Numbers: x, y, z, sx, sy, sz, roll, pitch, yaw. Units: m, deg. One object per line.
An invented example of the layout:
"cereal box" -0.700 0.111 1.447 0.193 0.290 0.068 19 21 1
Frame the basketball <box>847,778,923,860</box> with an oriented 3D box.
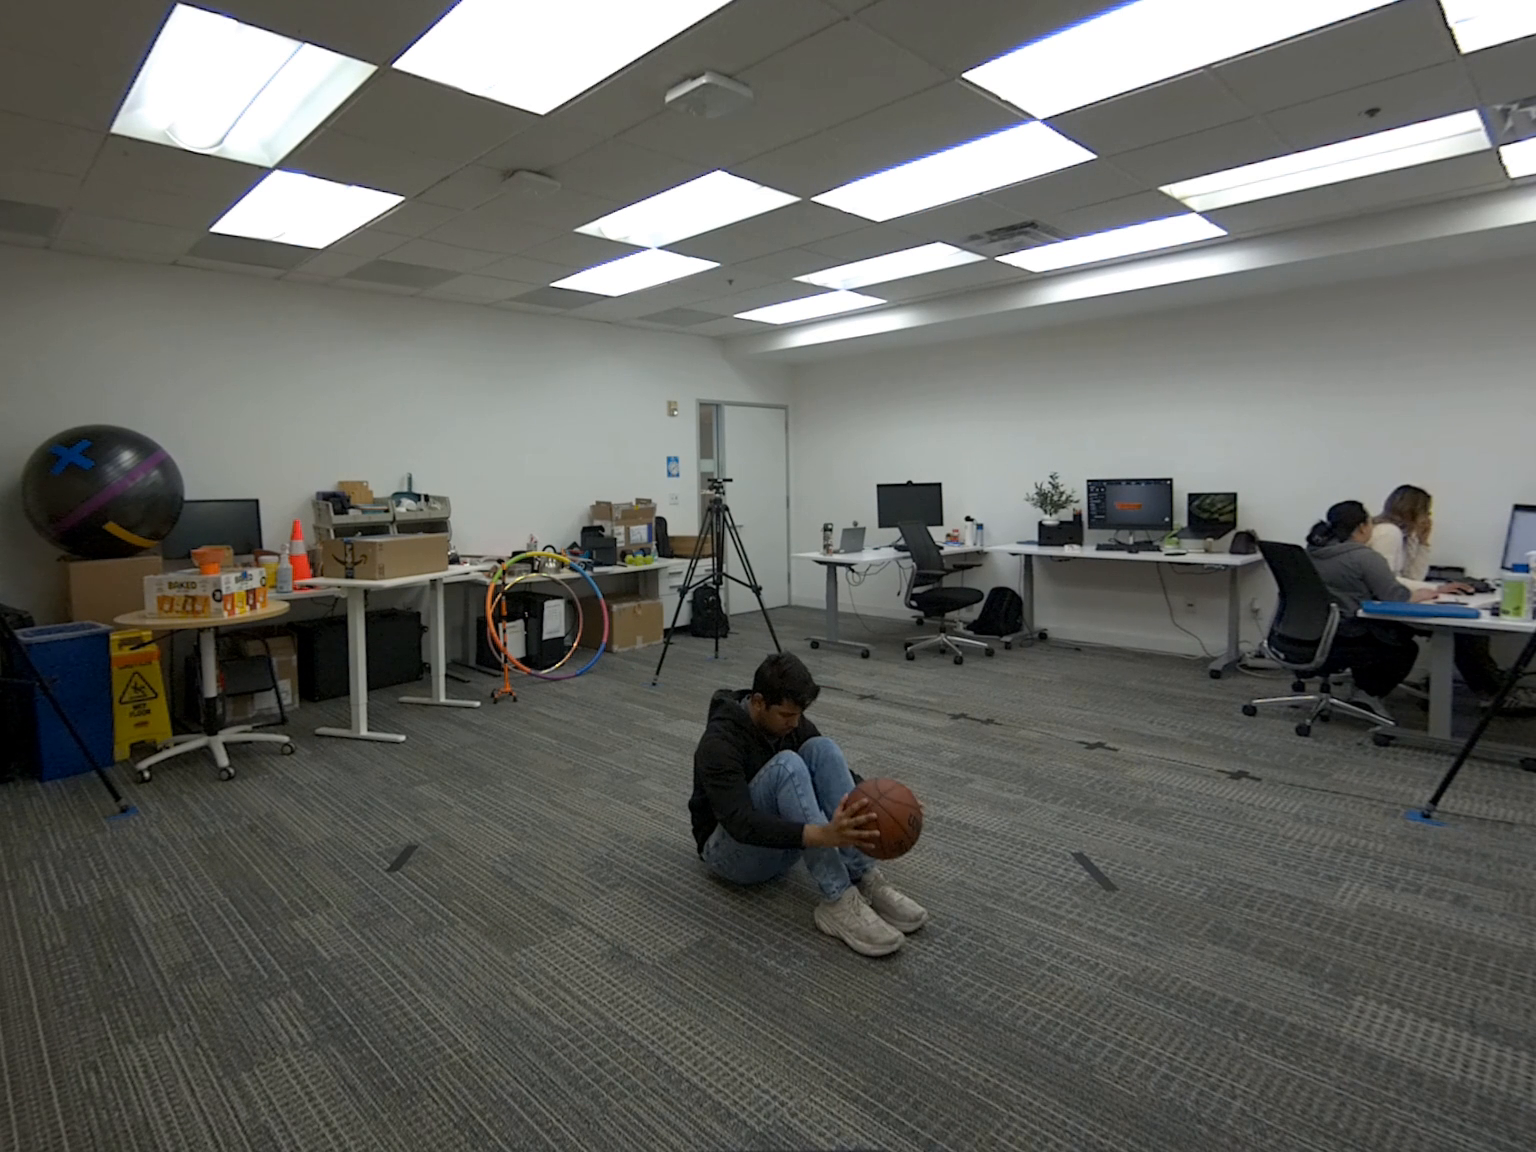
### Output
"basketball" 0.340 0.734 2.610 0.236 0.235 0.237 -1 5 -2
